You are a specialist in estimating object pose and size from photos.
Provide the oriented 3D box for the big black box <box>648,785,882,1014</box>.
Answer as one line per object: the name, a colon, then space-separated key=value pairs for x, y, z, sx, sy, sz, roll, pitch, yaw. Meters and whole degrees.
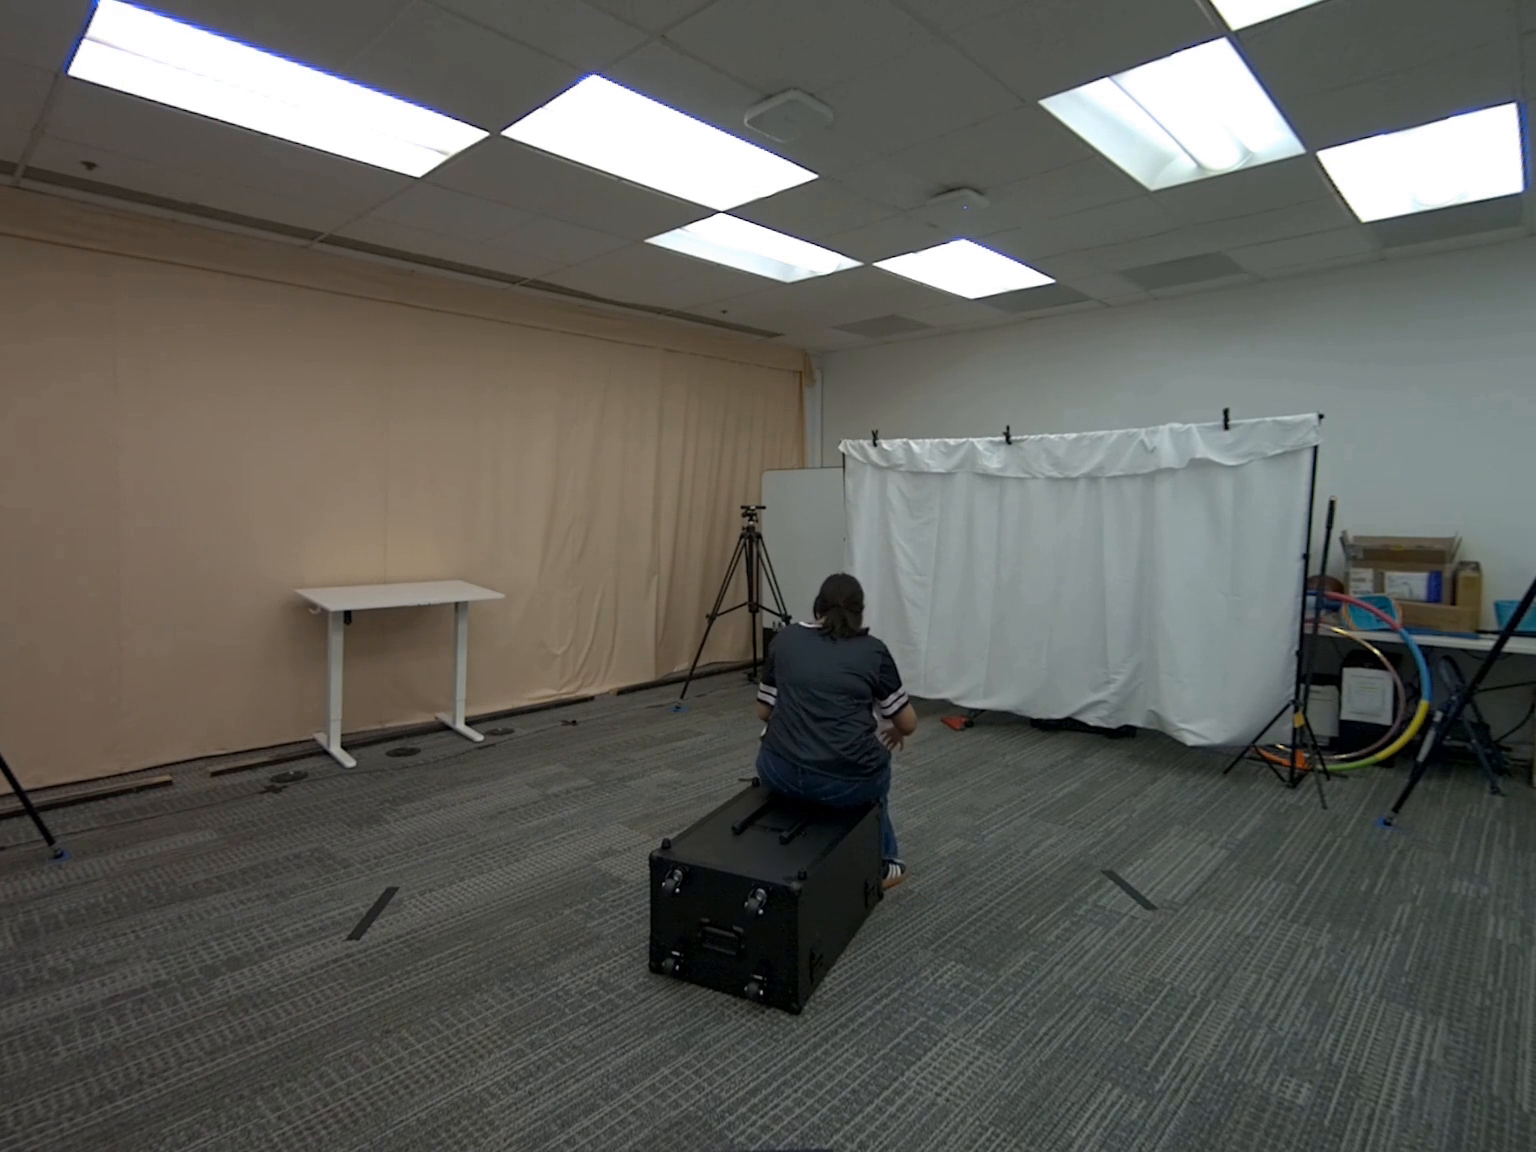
big black box: x=0.018 y=0.982 z=2.702 sx=0.537 sy=0.384 sz=0.848 roll=3 pitch=6 yaw=25
